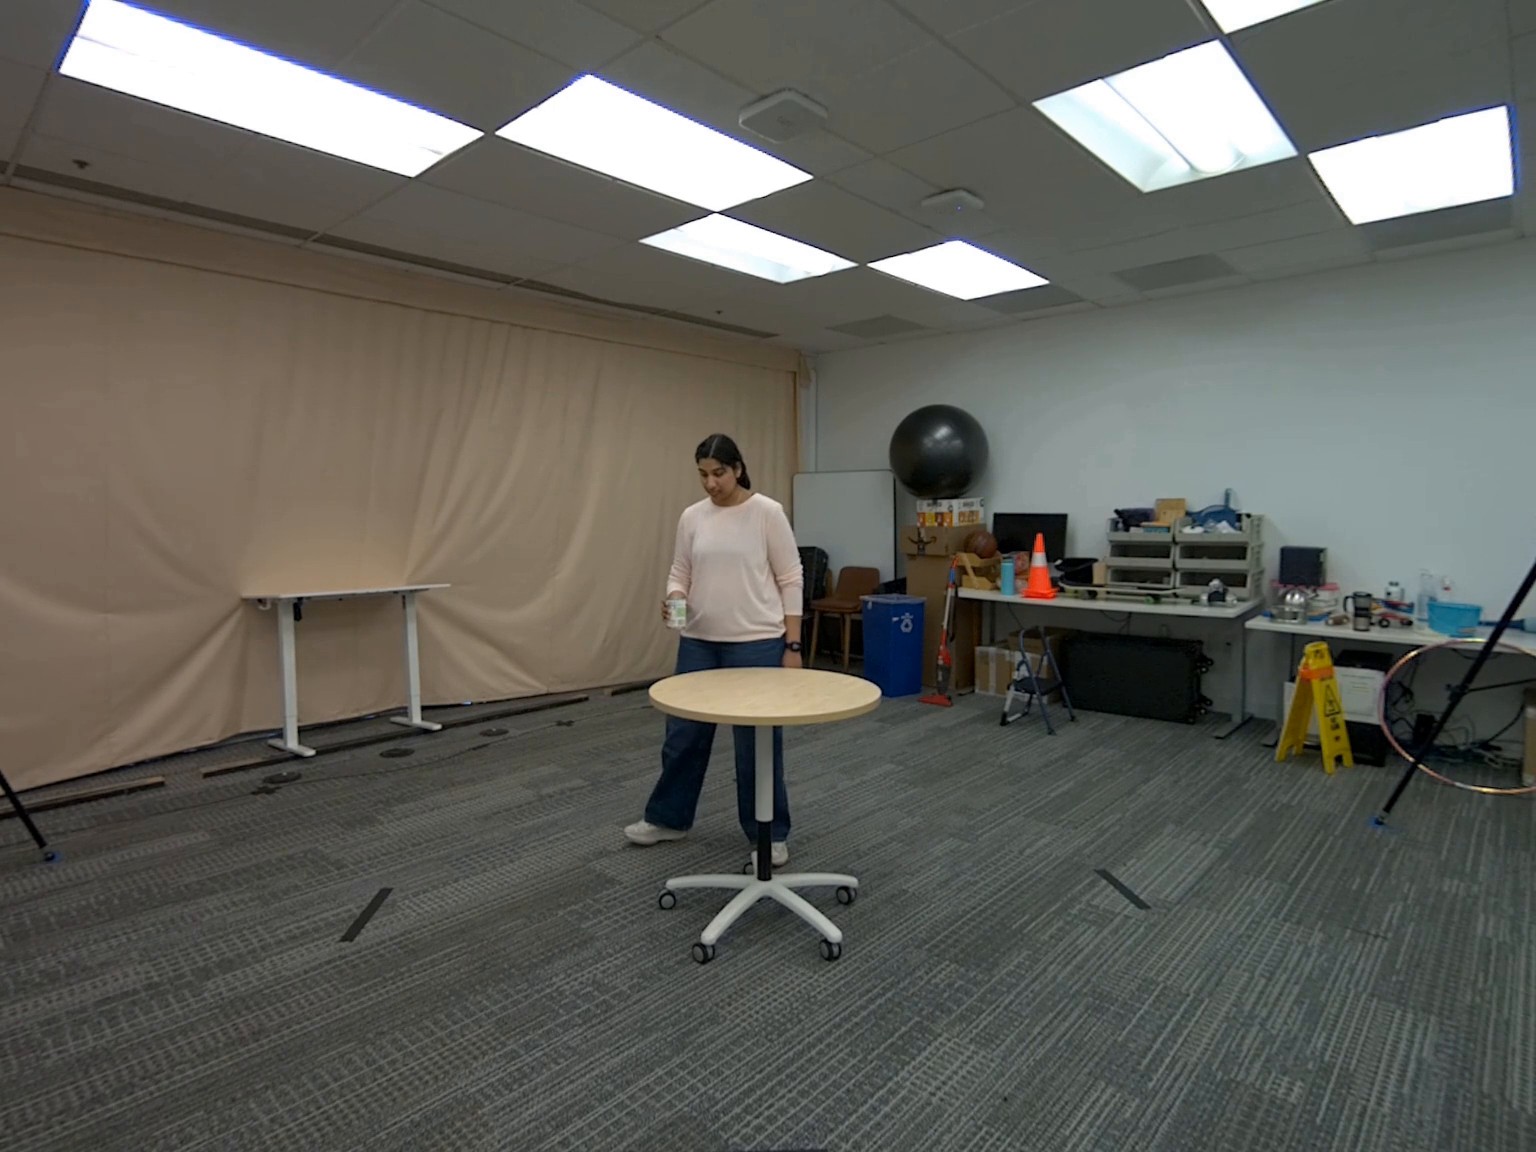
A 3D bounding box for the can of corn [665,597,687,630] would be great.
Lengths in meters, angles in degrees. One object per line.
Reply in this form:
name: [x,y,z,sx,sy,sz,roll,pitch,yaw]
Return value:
can of corn: [-0.348,0.138,3.118,0.074,0.111,0.074,1,0,-2]
